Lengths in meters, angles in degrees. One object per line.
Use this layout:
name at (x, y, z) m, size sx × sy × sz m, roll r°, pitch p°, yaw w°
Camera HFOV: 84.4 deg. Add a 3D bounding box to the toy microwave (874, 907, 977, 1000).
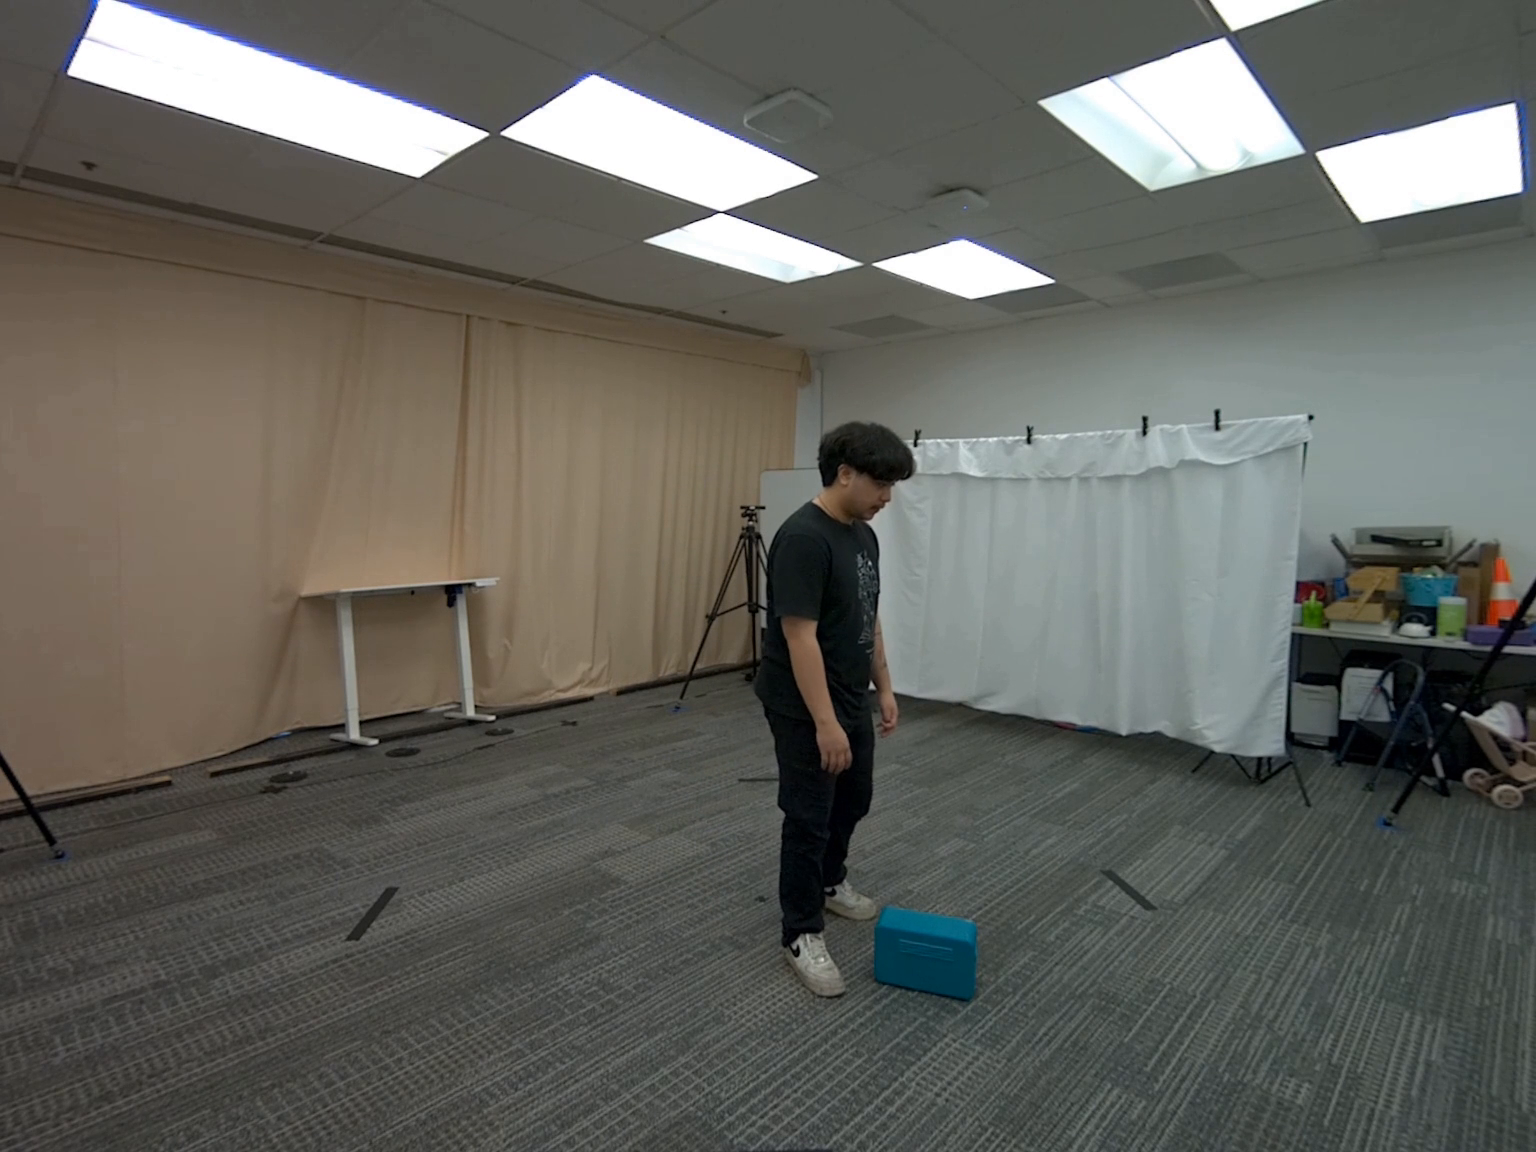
toy microwave at (0.466, 1.096, 2.461) m, size 0.292 × 0.184 × 0.149 m, roll 1°, pitch 4°, yaw 20°
